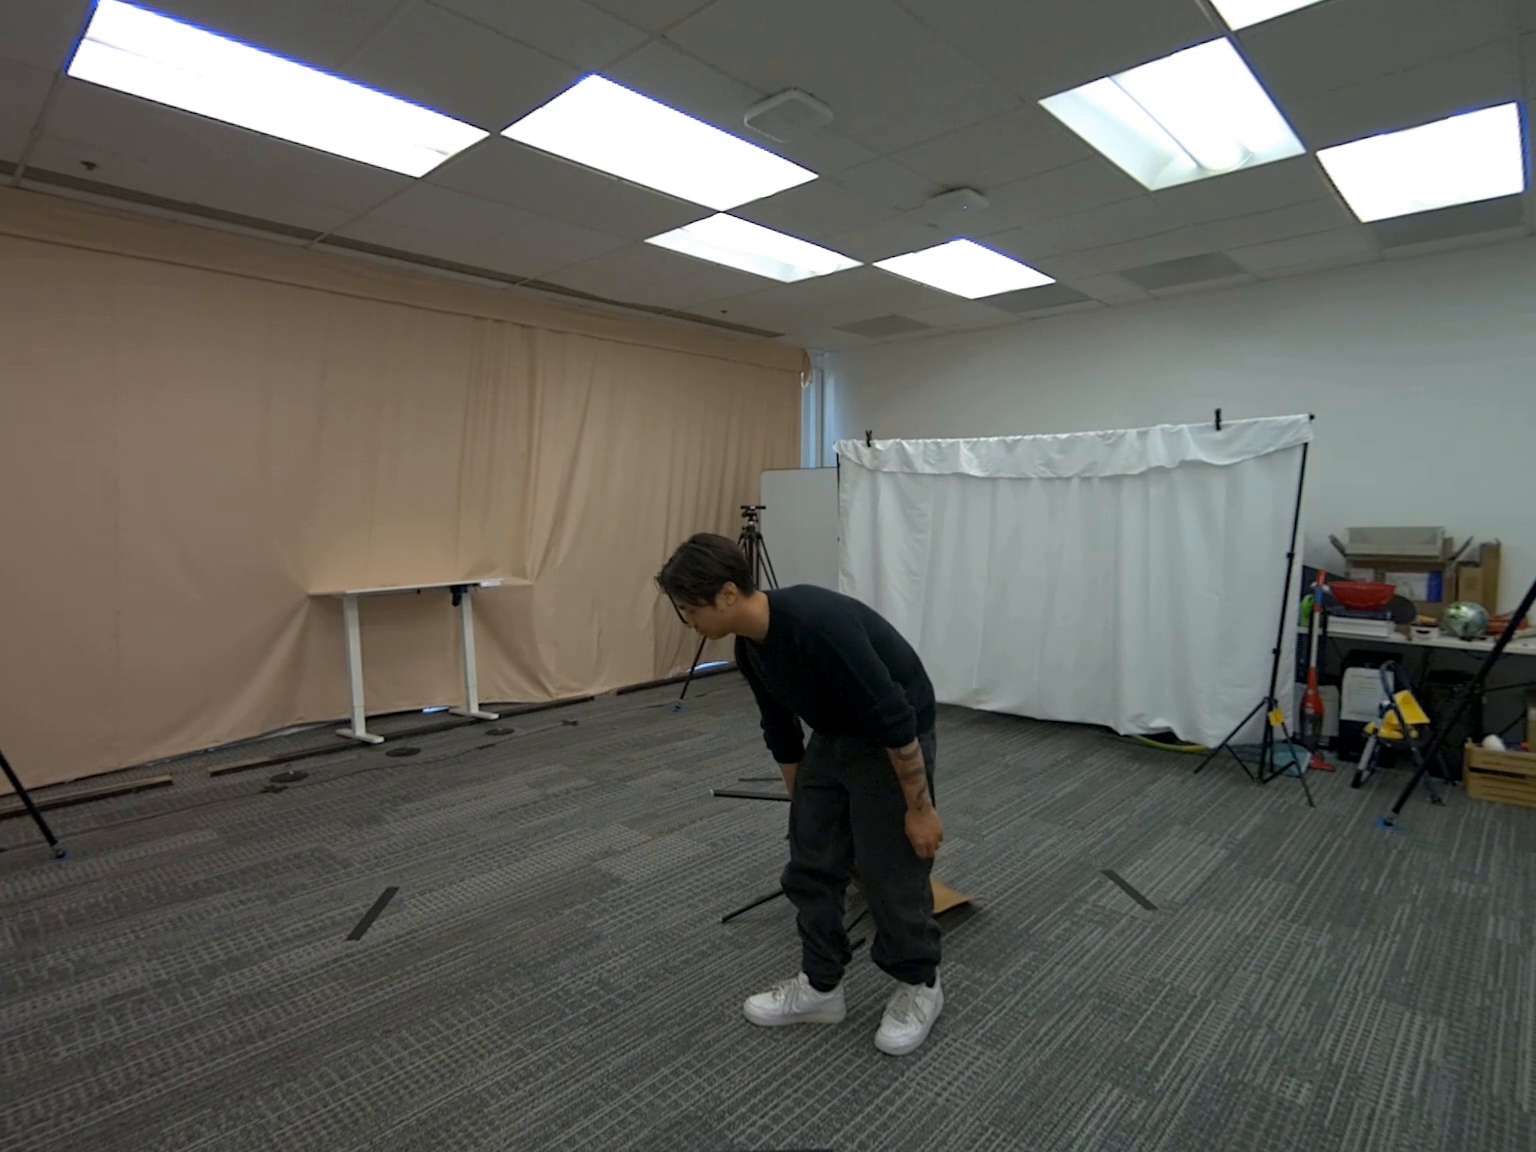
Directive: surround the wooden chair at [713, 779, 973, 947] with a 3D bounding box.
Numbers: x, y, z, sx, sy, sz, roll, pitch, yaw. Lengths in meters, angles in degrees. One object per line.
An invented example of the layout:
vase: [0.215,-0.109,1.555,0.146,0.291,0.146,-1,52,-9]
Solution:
wooden chair: [0.310,0.897,2.806,0.854,0.522,0.492,-2,4,-30]
